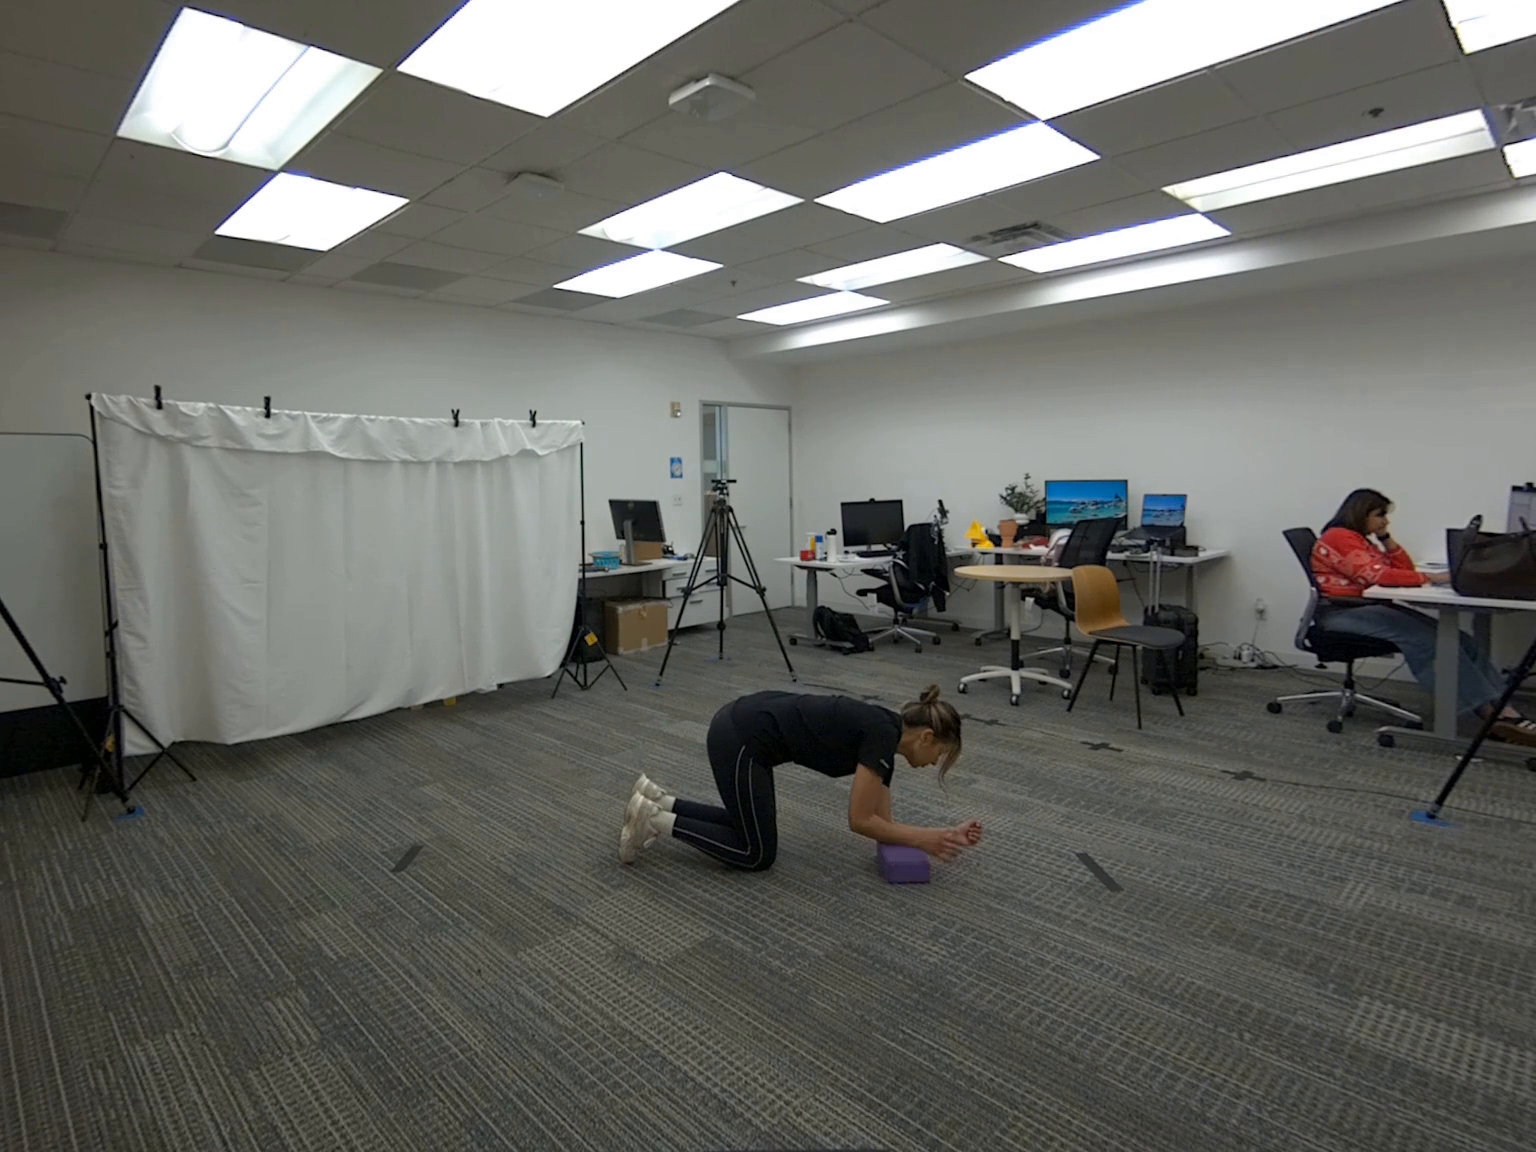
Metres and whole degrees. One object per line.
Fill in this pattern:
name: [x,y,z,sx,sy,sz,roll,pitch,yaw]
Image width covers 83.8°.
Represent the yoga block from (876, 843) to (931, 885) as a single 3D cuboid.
yoga block: [0.475,0.997,3.038,0.149,0.076,0.230,-1,6,-2]
